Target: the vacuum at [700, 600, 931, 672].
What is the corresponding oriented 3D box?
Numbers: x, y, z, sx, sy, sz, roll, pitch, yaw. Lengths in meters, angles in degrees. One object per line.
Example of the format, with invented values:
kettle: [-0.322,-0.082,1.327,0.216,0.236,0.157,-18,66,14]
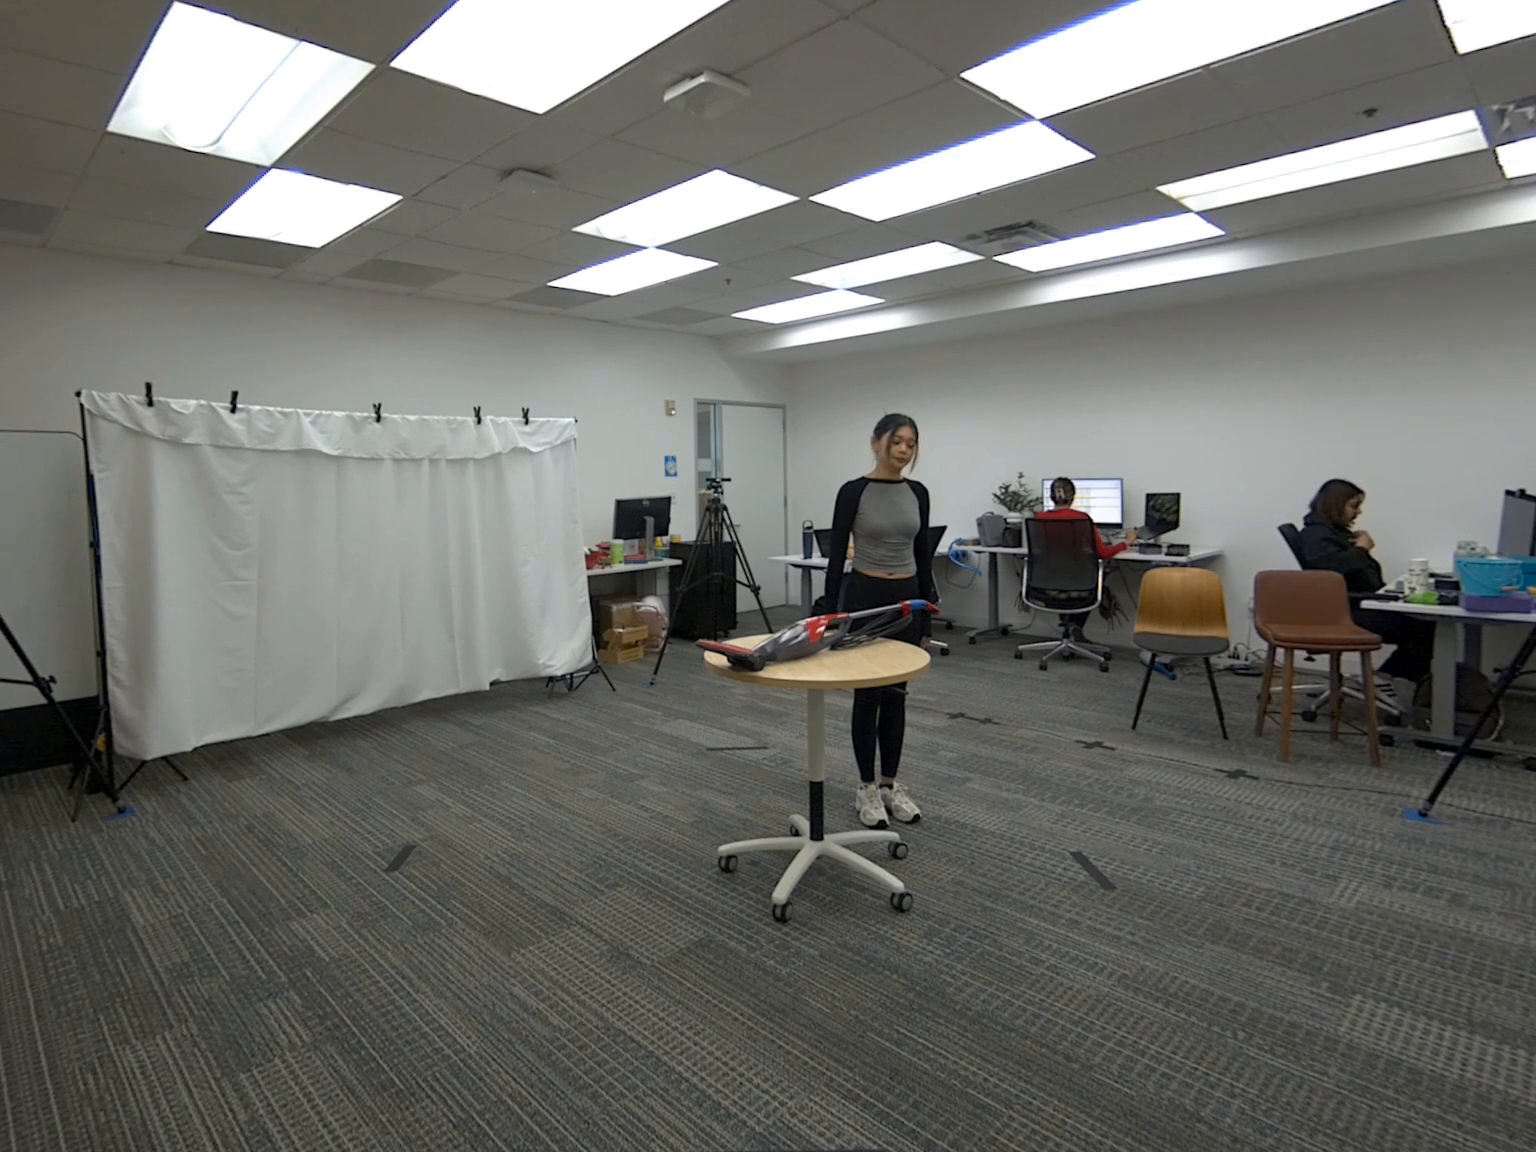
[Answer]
vacuum: [0.274,0.207,3.021,1.023,0.143,0.260,-9,8,-43]
